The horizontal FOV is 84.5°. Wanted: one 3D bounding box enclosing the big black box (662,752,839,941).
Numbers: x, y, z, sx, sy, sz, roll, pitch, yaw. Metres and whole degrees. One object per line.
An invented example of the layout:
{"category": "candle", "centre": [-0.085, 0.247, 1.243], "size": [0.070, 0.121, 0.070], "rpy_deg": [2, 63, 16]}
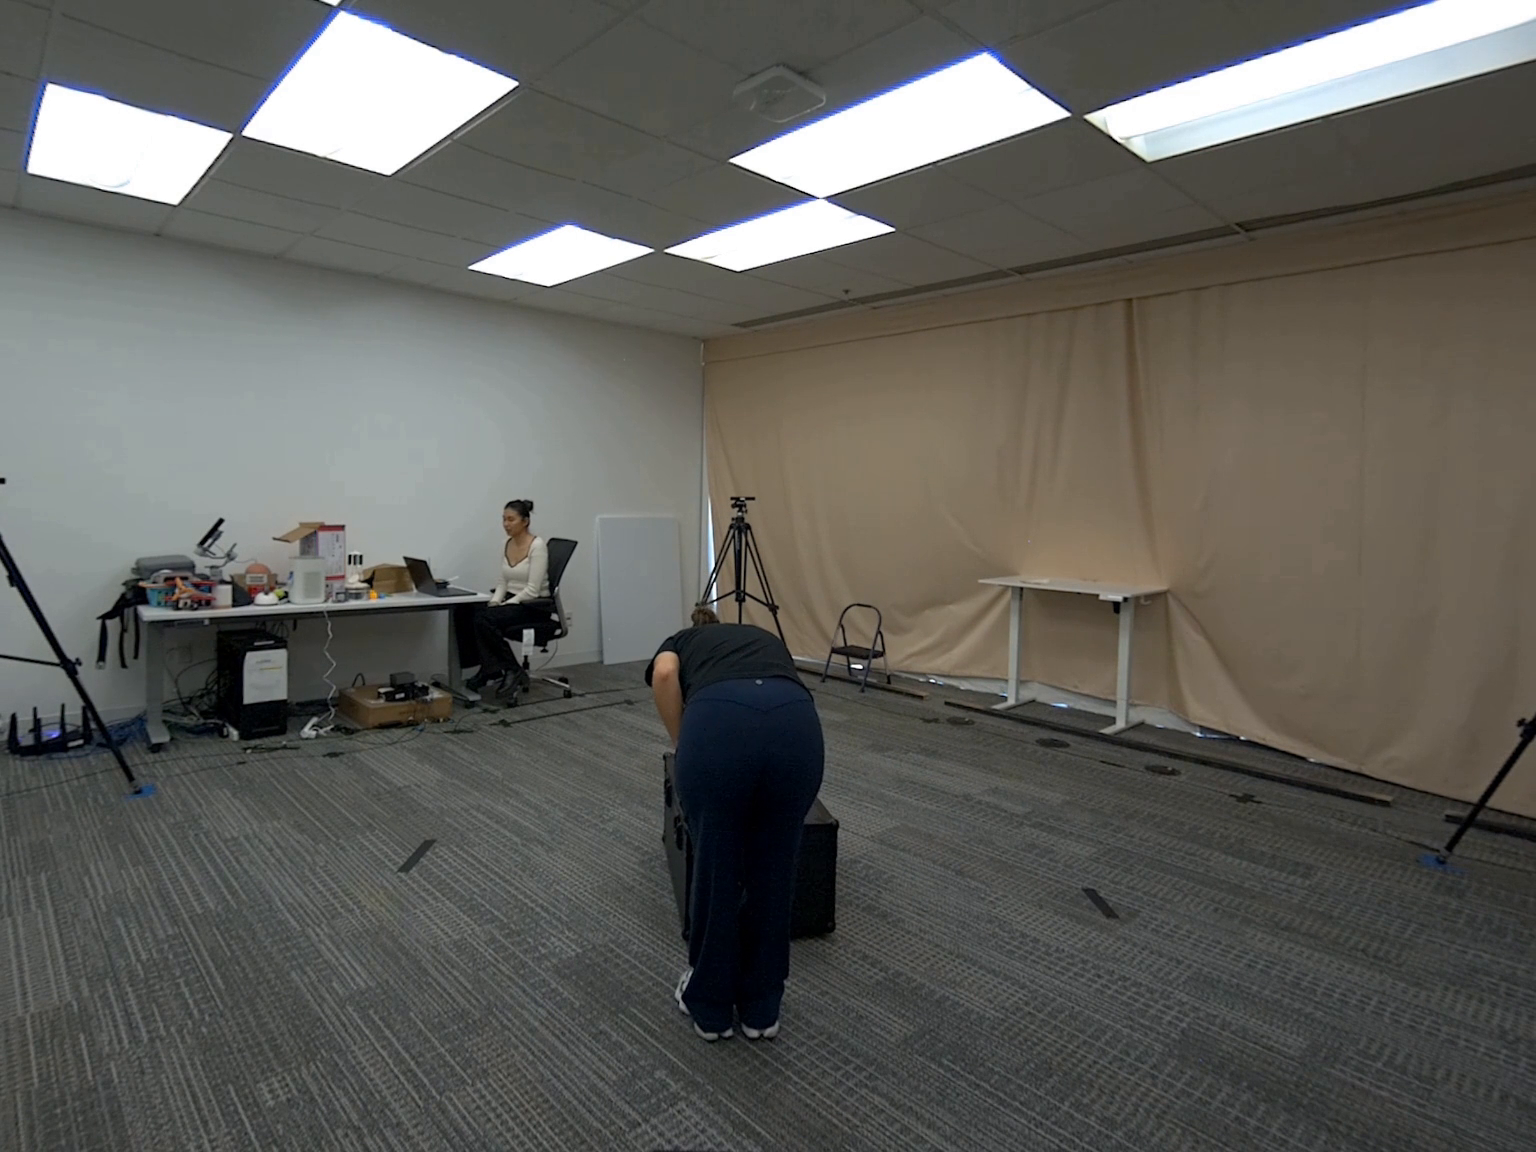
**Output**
{"category": "big black box", "centre": [-0.106, 0.921, 3.019], "size": [0.516, 0.395, 0.872], "rpy_deg": [1, 5, -12]}
